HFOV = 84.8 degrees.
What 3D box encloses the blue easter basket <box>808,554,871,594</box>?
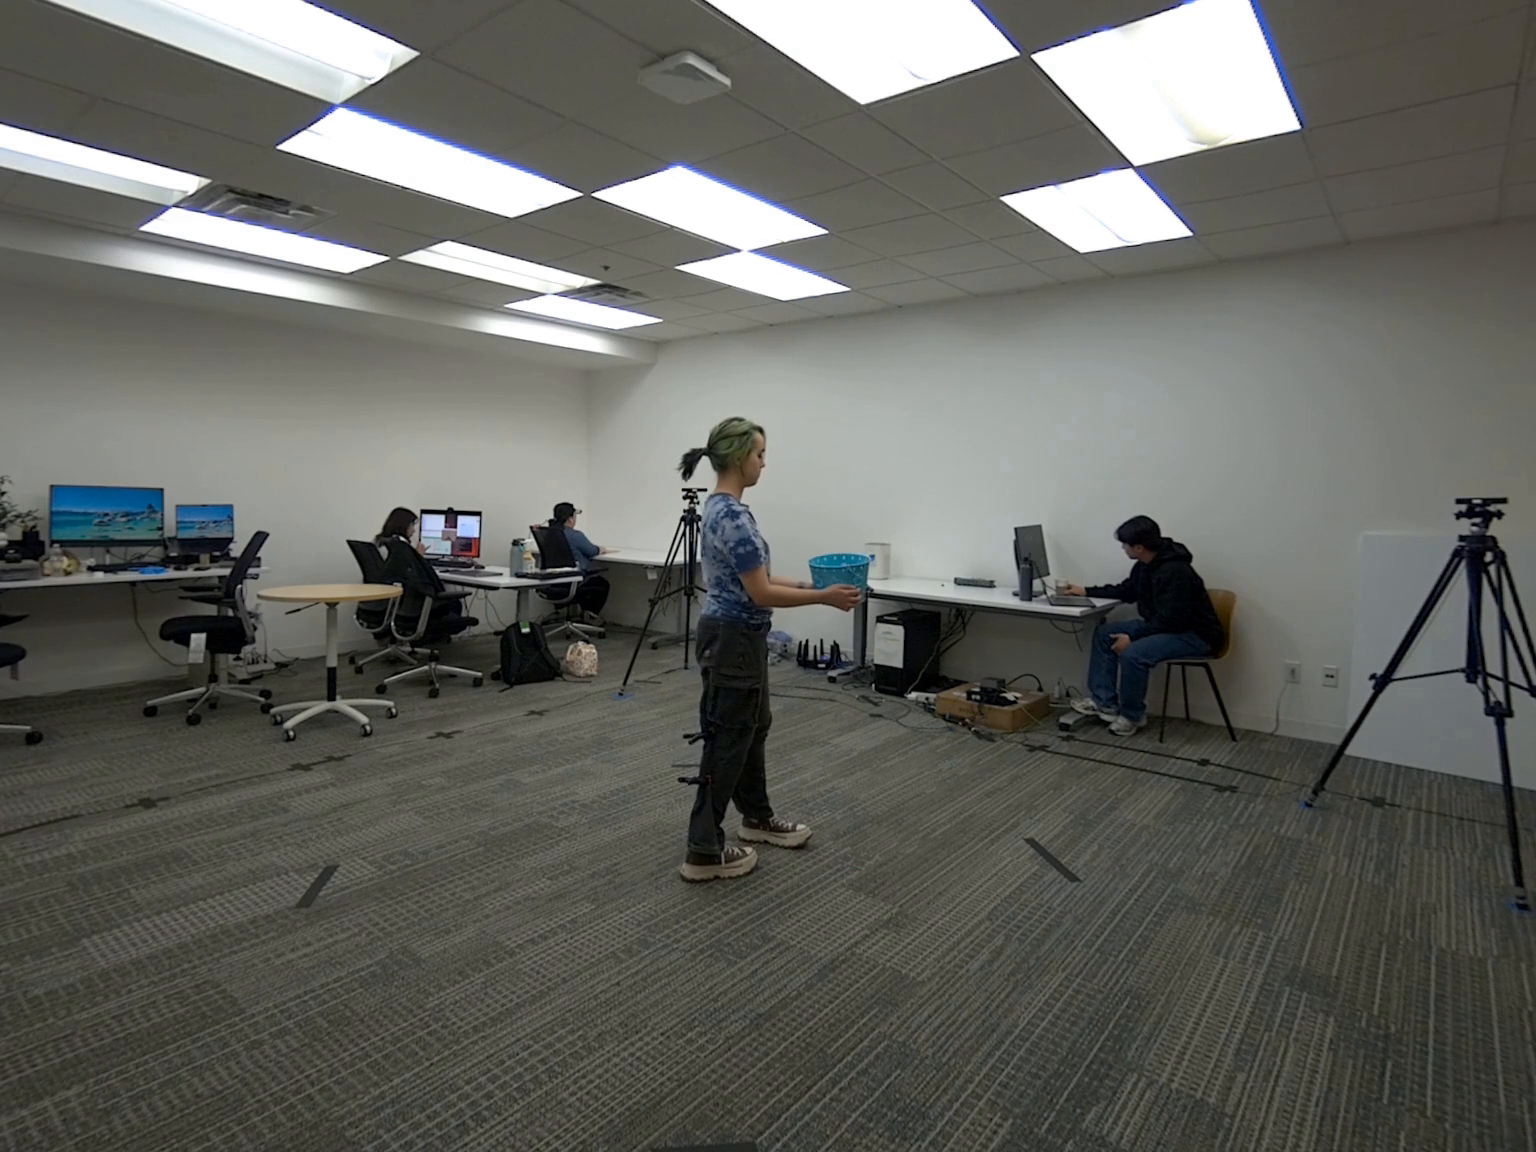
[{"bbox_3d":[0.263,0.015,3.155,0.243,0.154,0.246,-4,11,-1],"label":"blue easter basket"}]
